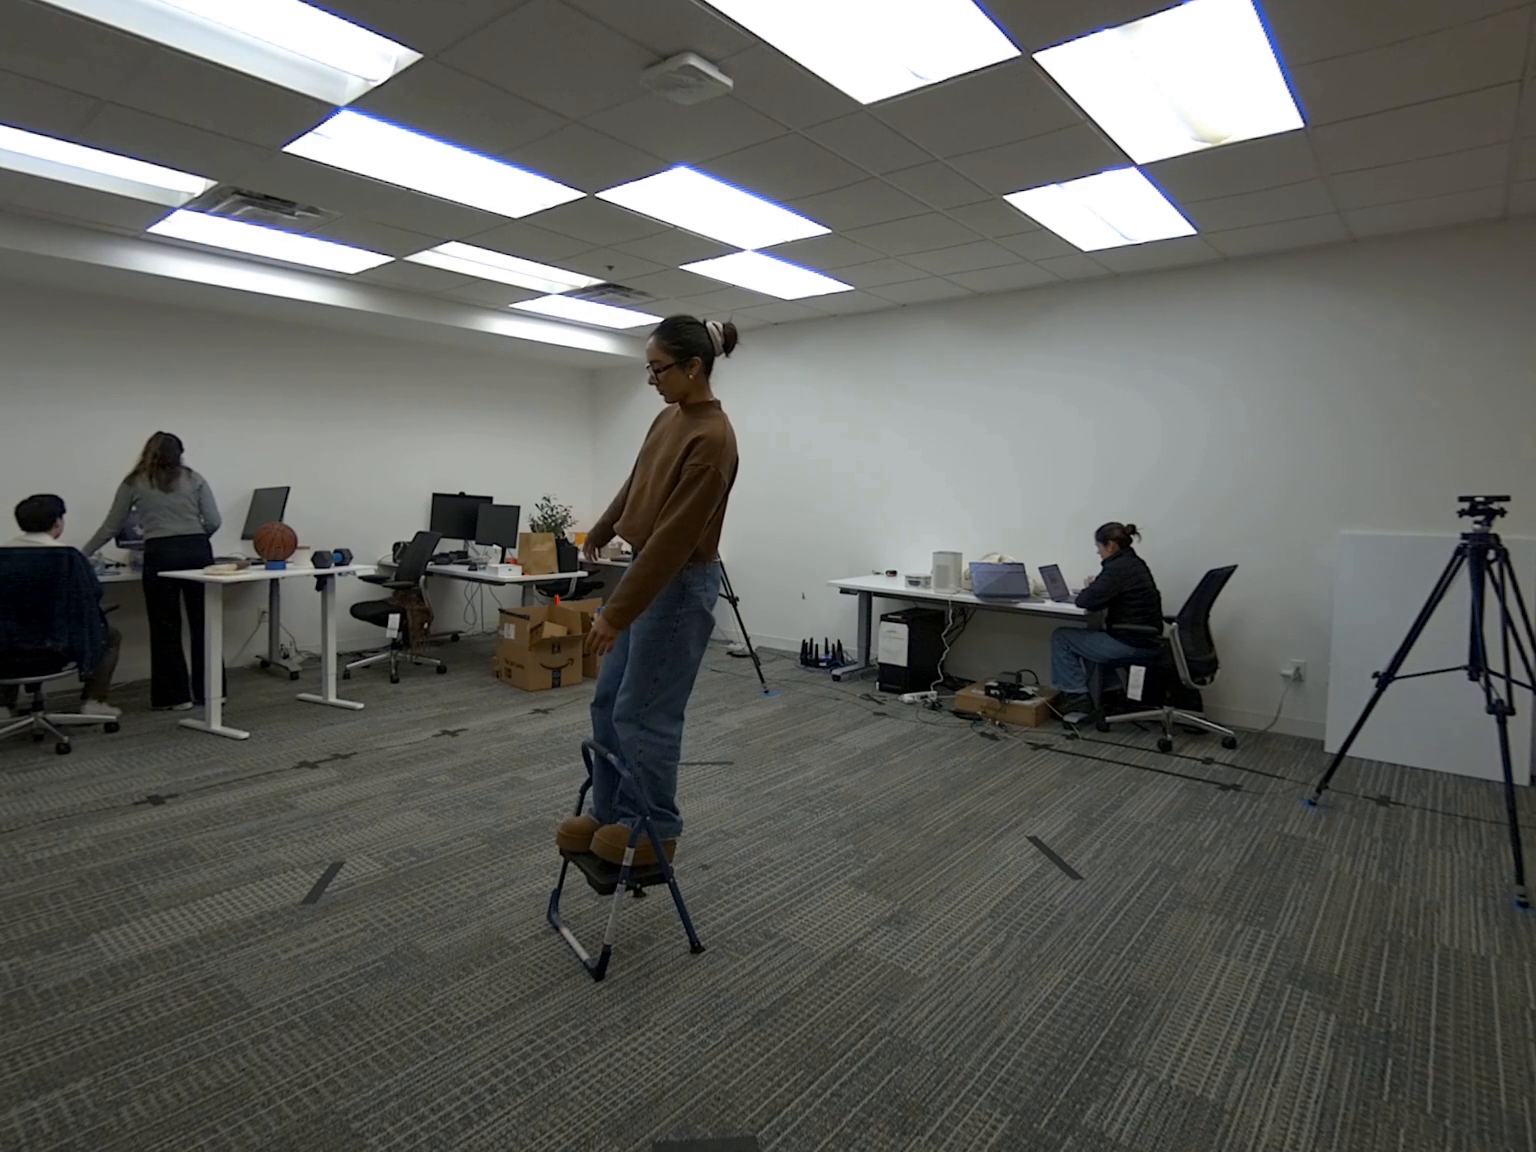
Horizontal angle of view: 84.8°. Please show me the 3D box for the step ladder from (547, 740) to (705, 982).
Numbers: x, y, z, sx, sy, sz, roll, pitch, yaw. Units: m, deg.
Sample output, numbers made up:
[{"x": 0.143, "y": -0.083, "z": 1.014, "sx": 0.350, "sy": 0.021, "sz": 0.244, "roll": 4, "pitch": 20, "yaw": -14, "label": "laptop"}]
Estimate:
[{"x": -0.459, "y": 0.810, "z": 2.622, "sx": 0.339, "sy": 0.604, "sz": 0.444, "roll": -2, "pitch": 5, "yaw": -34, "label": "step ladder"}]
